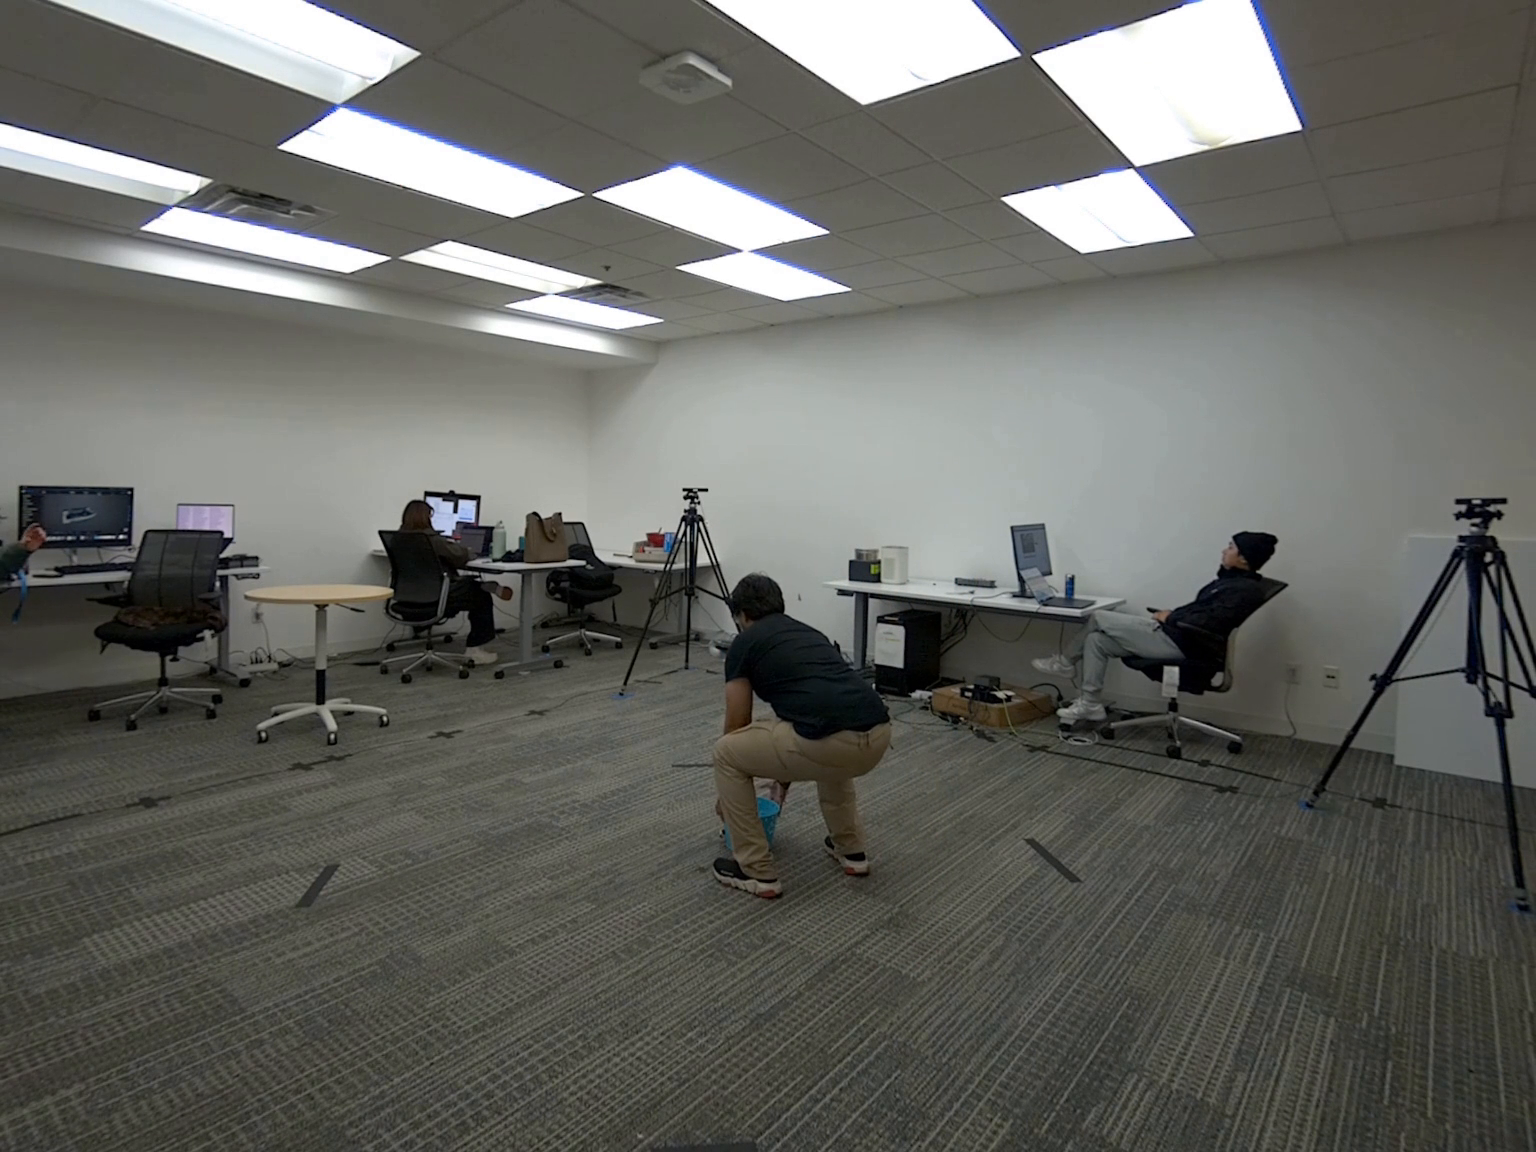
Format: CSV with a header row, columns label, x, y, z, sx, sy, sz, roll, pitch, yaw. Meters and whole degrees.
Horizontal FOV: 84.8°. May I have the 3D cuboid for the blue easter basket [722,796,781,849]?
label,x,y,z,sx,sy,sz,roll,pitch,yaw
blue easter basket,-0.079,0.973,3.327,0.243,0.155,0.244,2,3,-2
